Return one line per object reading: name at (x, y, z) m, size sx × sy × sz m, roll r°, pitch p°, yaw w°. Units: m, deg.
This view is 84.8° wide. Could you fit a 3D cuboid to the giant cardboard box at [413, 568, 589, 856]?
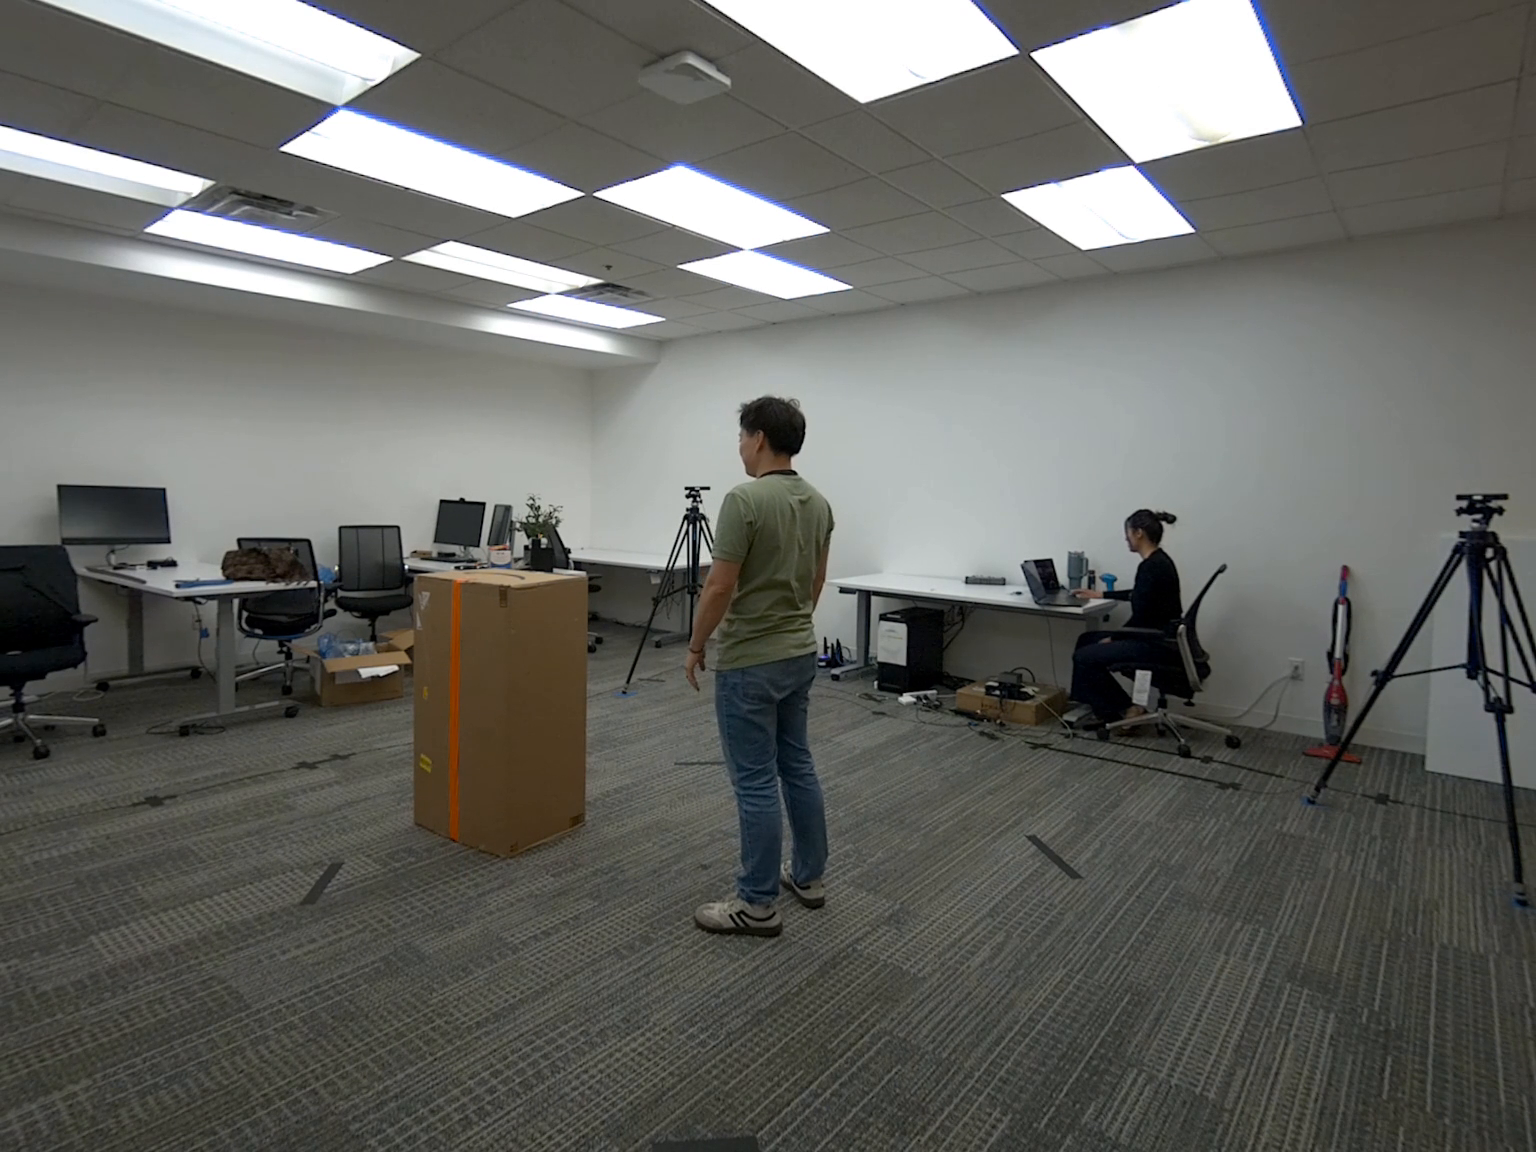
giant cardboard box at (-1.103, 0.509, 3.459) m, size 0.596 × 1.023 × 0.414 m, roll 3°, pitch 4°, yaw 34°
